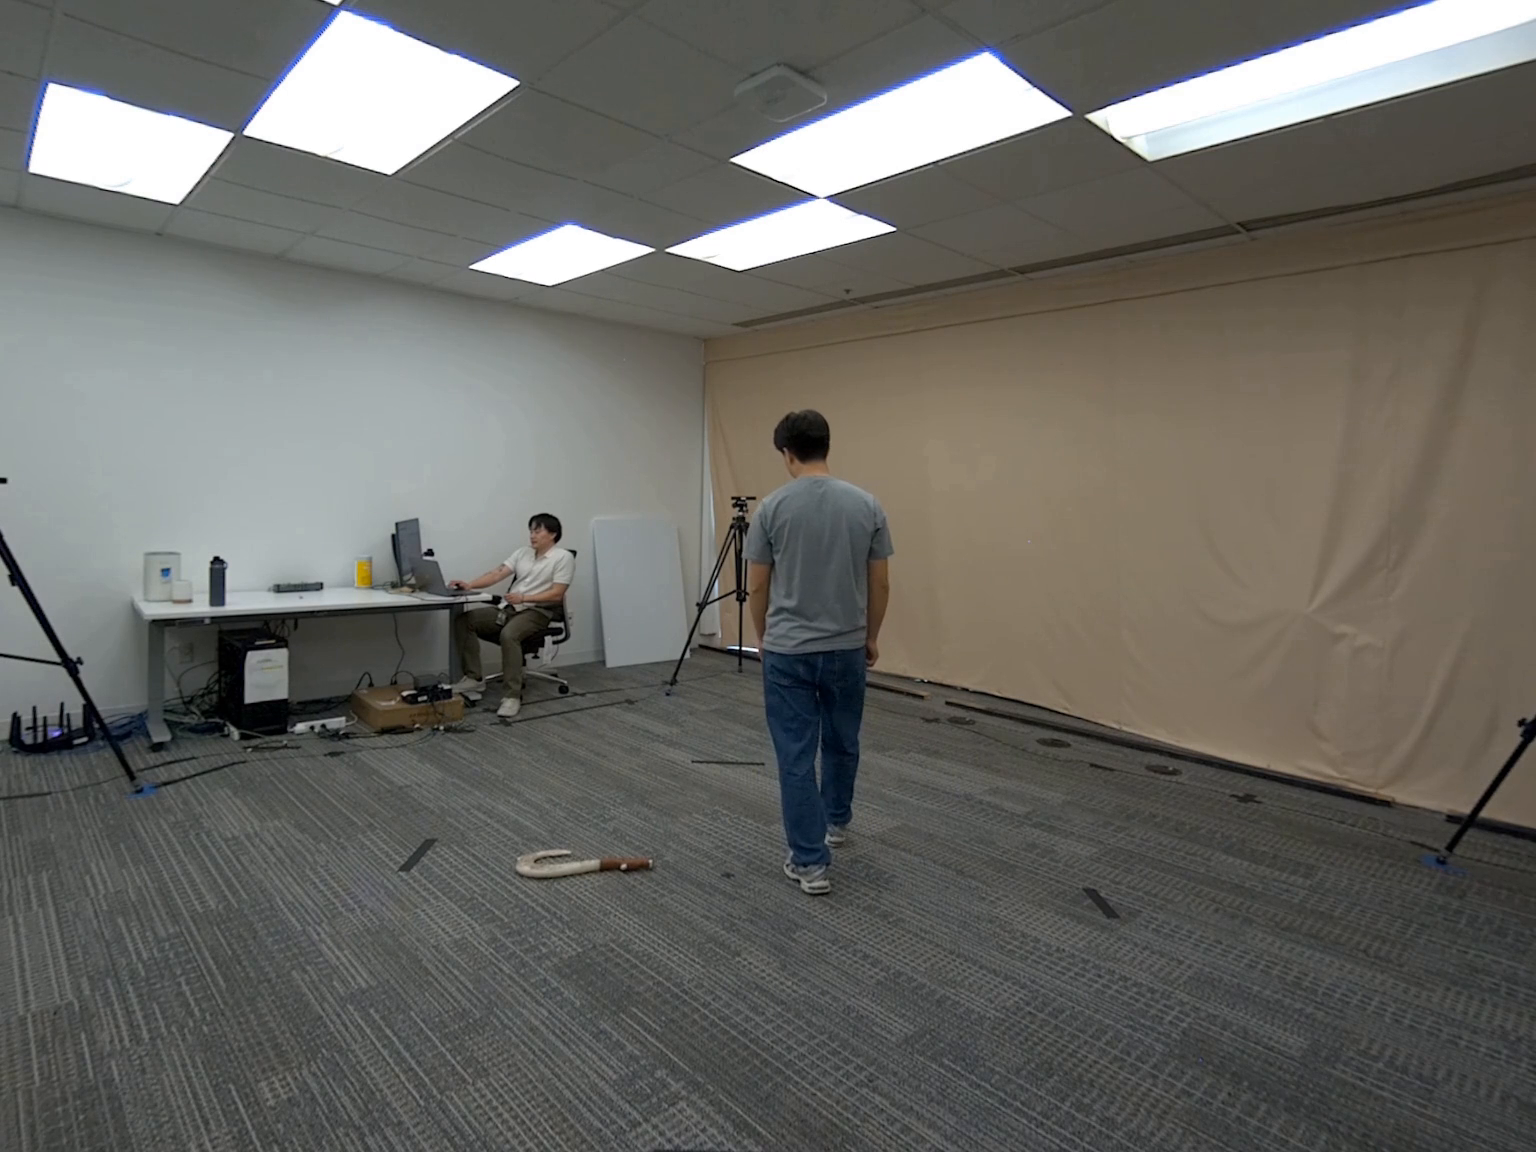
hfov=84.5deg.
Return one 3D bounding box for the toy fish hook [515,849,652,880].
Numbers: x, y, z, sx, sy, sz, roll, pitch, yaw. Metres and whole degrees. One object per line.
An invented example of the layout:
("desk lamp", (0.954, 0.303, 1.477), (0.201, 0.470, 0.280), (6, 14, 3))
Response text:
("toy fish hook", (-0.685, 1.058, 3.154), (0.503, 0.048, 0.227), (1, 7, -8))
